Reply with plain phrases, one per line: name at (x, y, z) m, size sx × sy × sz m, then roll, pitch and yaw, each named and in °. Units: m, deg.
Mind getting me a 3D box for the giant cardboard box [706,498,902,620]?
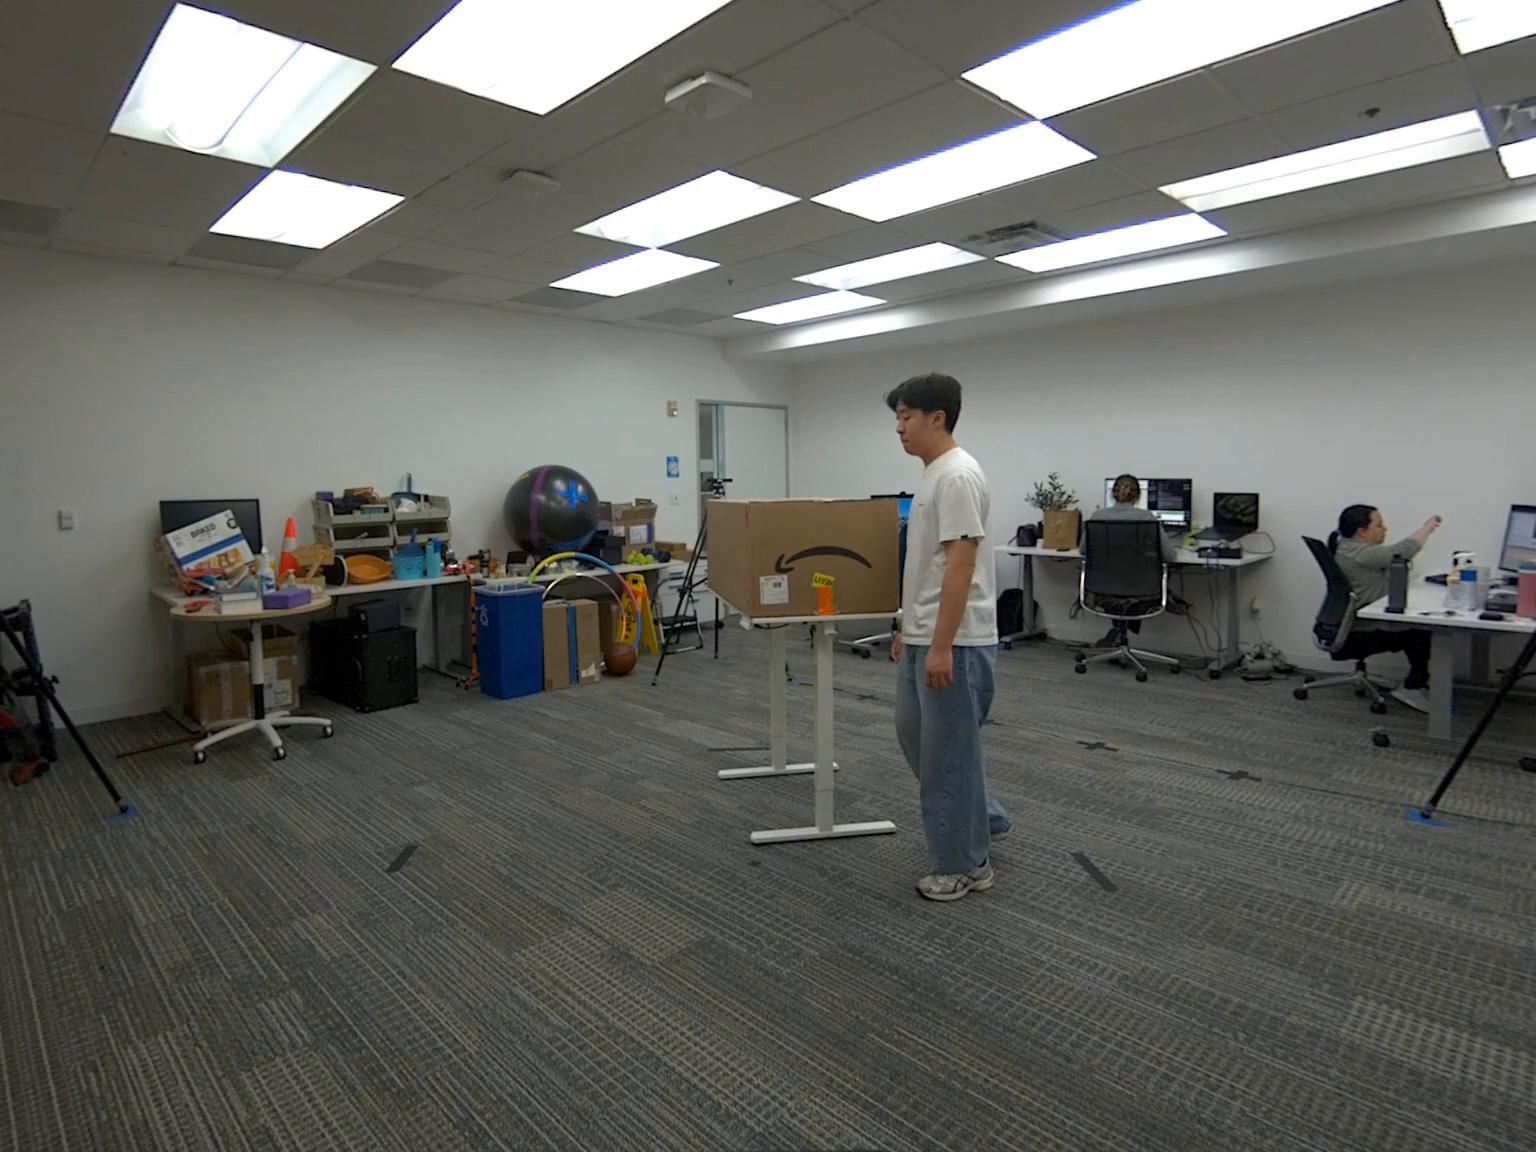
giant cardboard box at (0.094, -0.112, 3.646) m, size 0.572 × 0.424 × 1.040 m, roll -3°, pitch 5°, yaw -11°
